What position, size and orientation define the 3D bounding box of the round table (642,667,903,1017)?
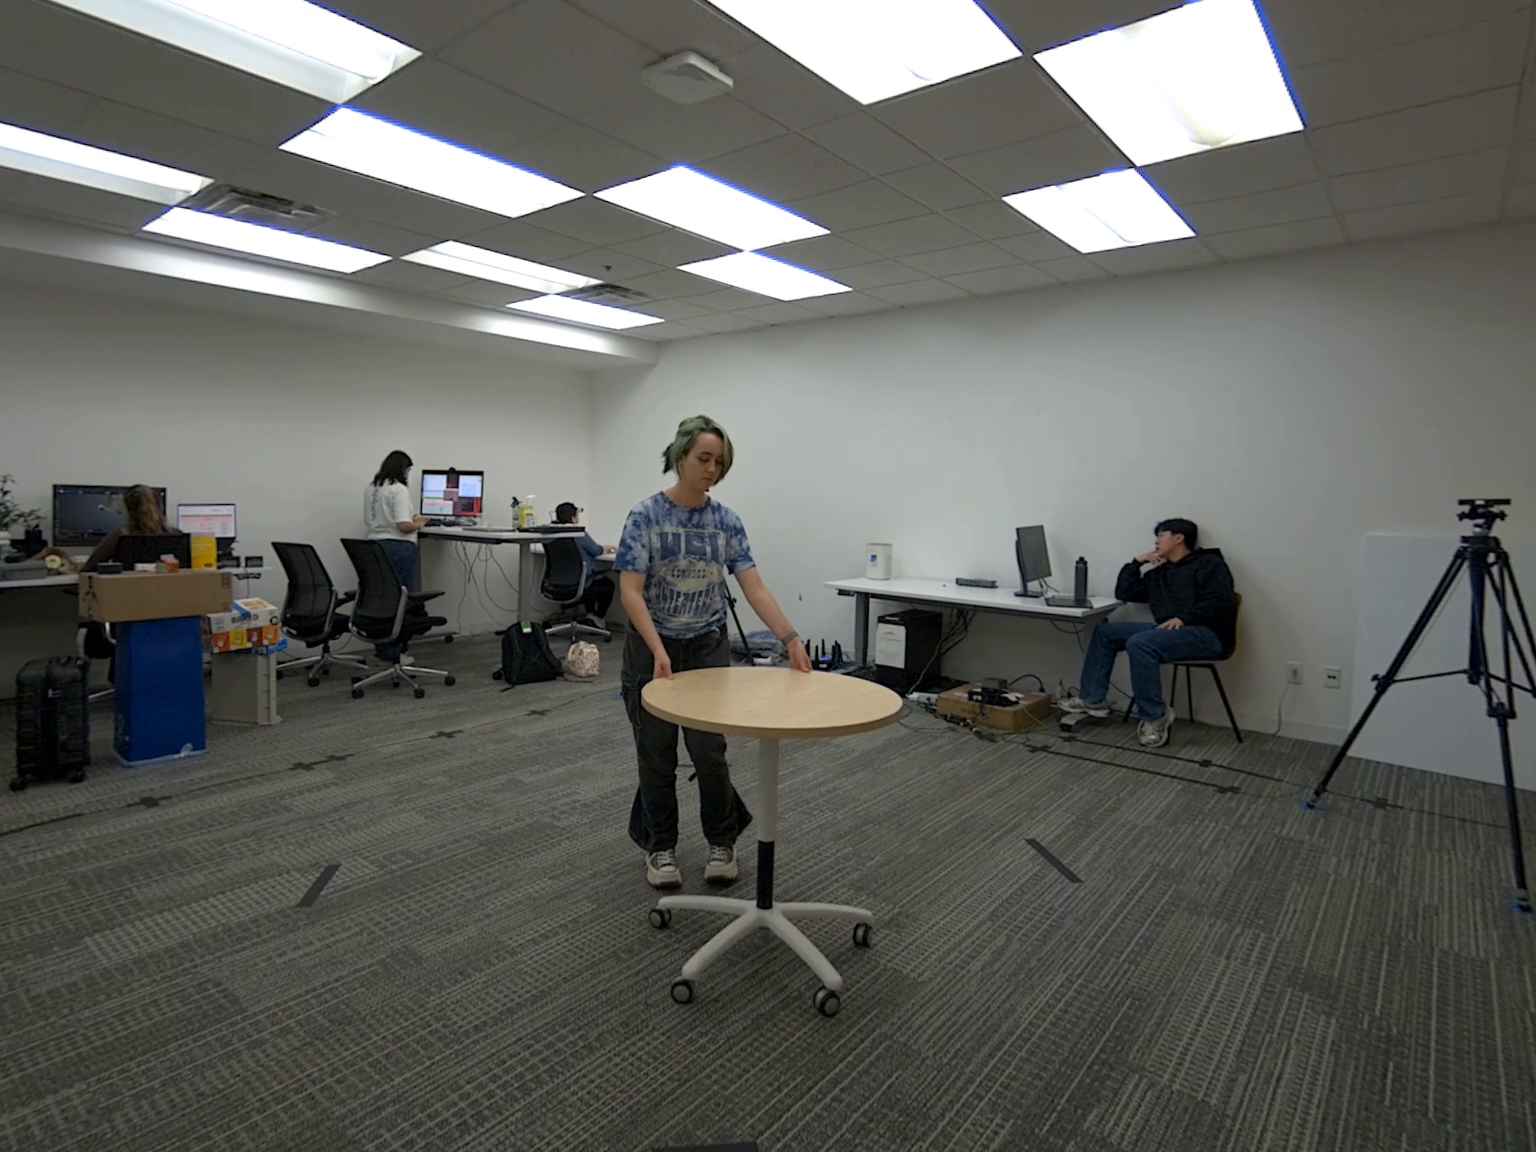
[{"bbox_3d":[-0.016,0.738,2.548,0.763,0.791,0.768,1,4,-2],"label":"round table"}]
